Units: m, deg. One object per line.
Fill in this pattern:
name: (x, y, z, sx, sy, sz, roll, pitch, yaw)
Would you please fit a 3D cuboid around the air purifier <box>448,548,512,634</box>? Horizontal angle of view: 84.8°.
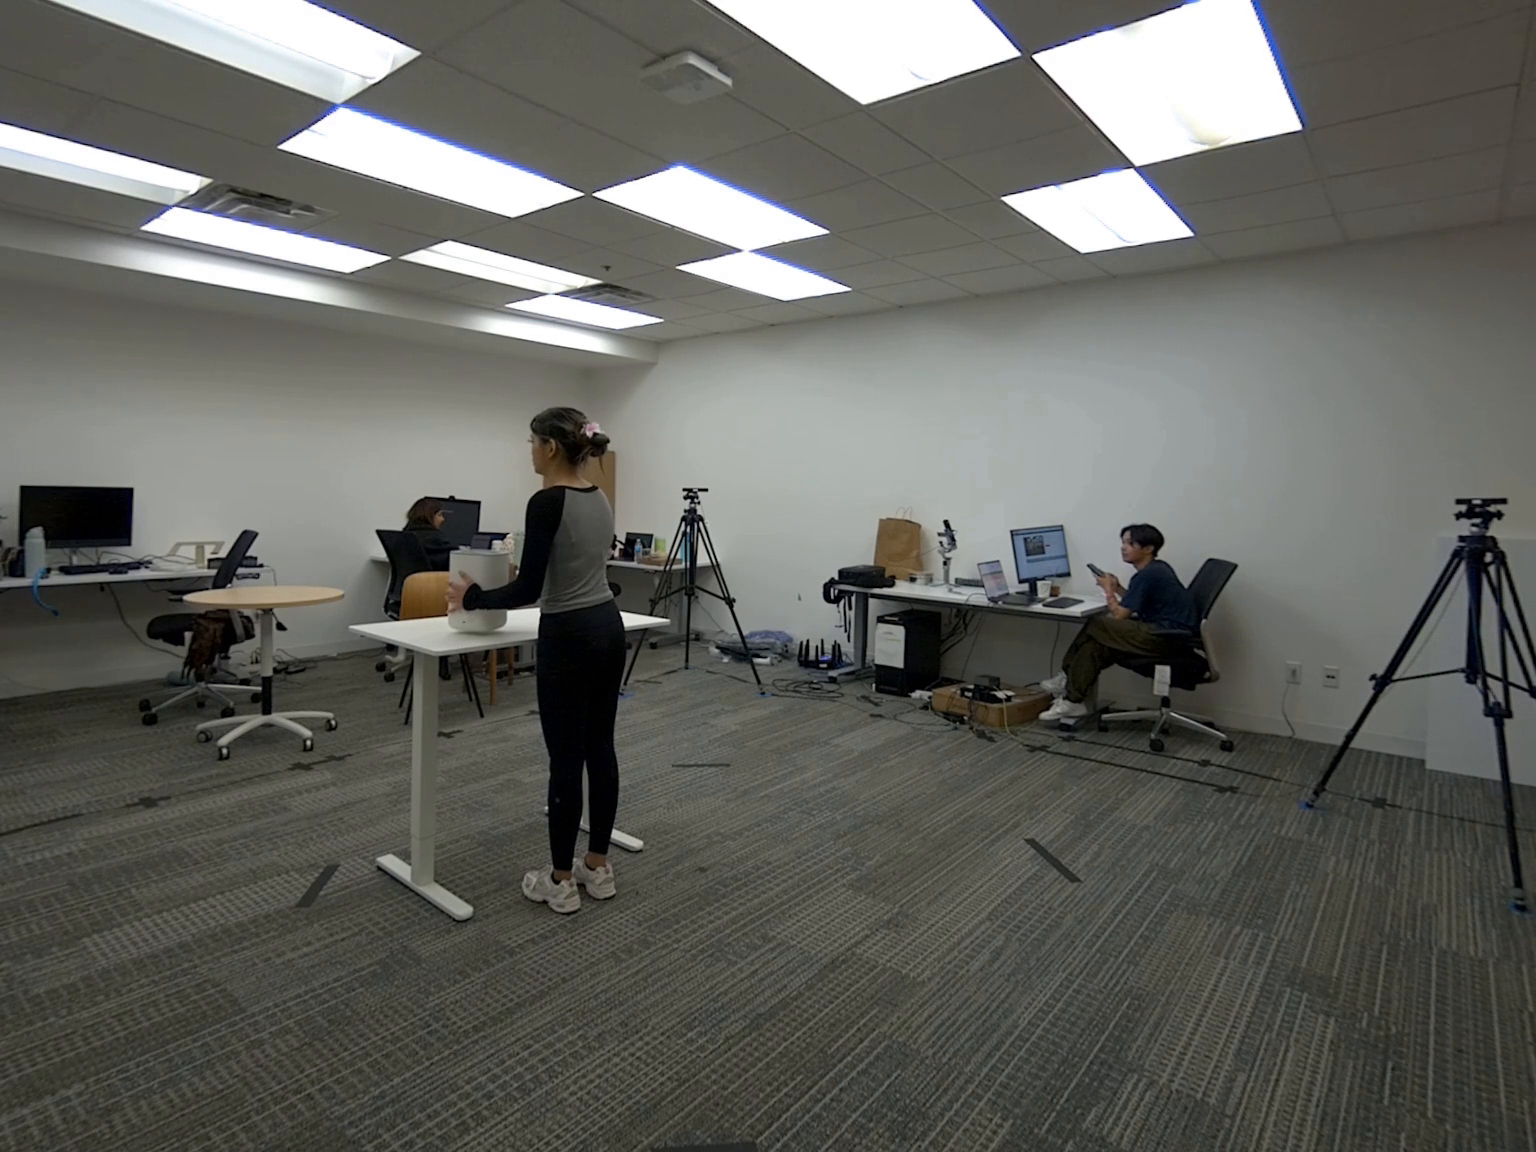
air purifier: (-1.004, 0.047, 2.928, 0.174, 0.264, 0.170, 4, 4, 12)
